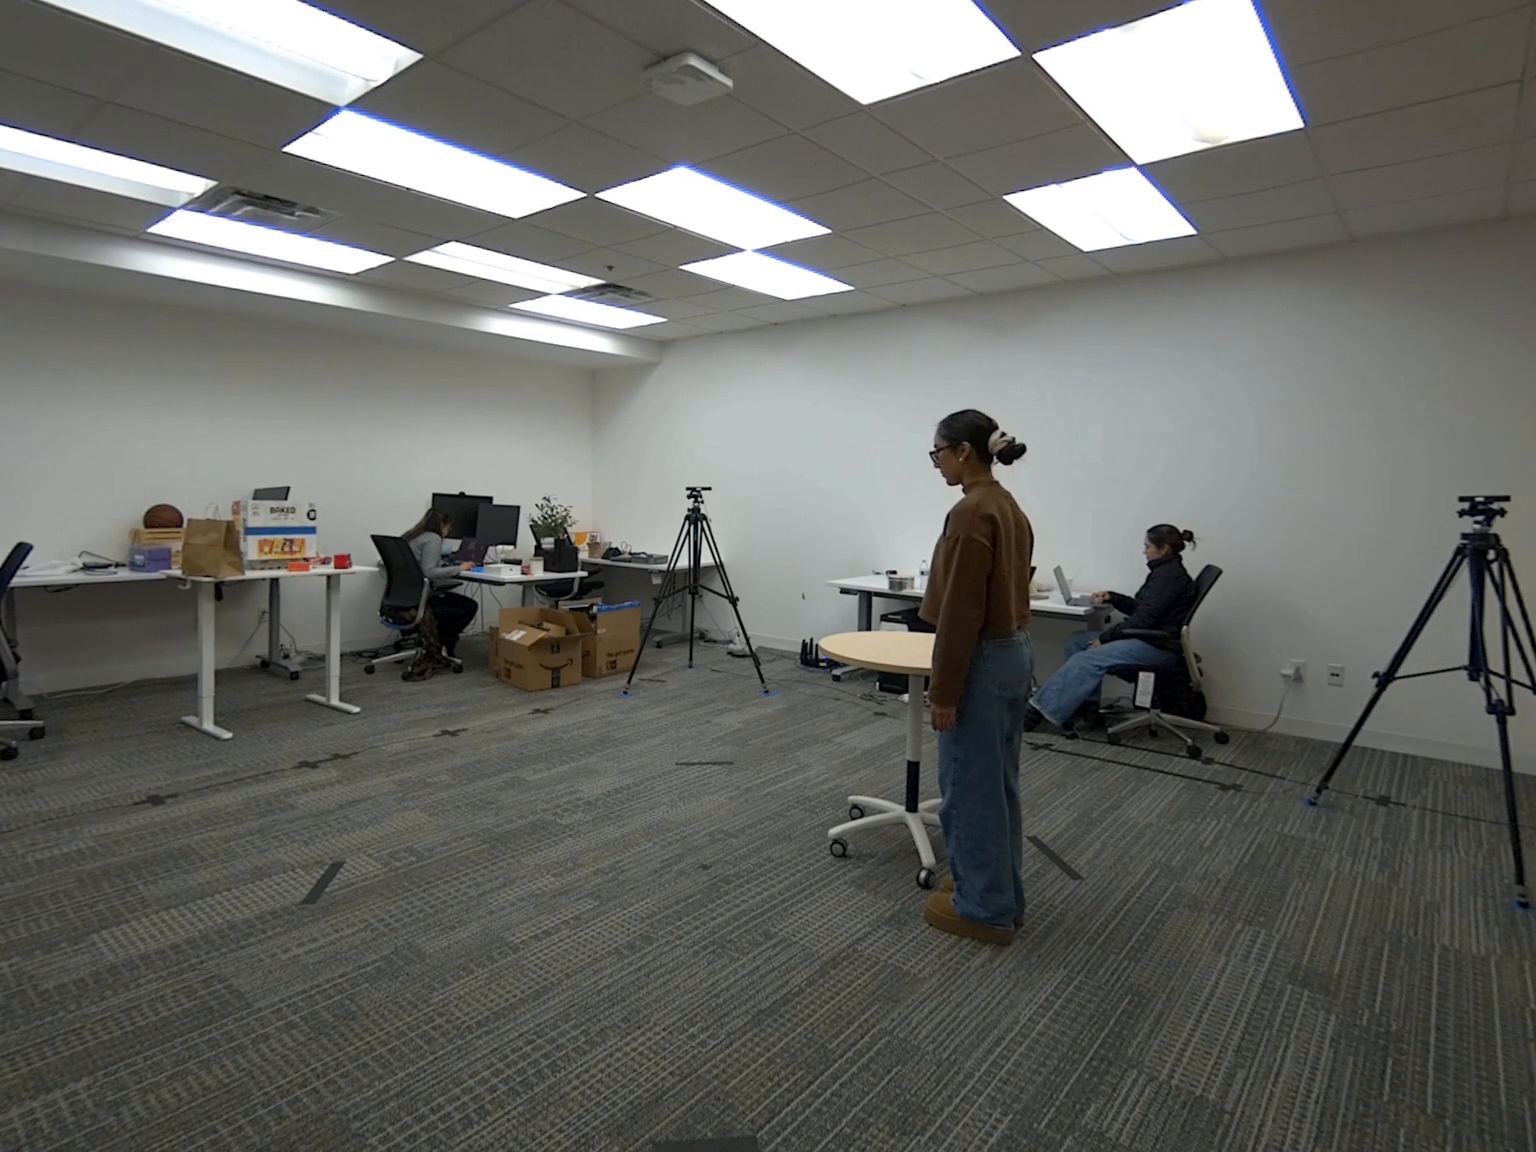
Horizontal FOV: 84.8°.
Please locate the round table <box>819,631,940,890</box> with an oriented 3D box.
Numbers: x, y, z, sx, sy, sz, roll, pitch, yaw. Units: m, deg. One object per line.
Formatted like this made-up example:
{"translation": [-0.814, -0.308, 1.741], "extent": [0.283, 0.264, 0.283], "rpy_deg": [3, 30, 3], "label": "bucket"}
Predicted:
{"translation": [0.564, 0.671, 3.332], "extent": [0.763, 0.791, 0.768], "rpy_deg": [2, 4, -2], "label": "round table"}
